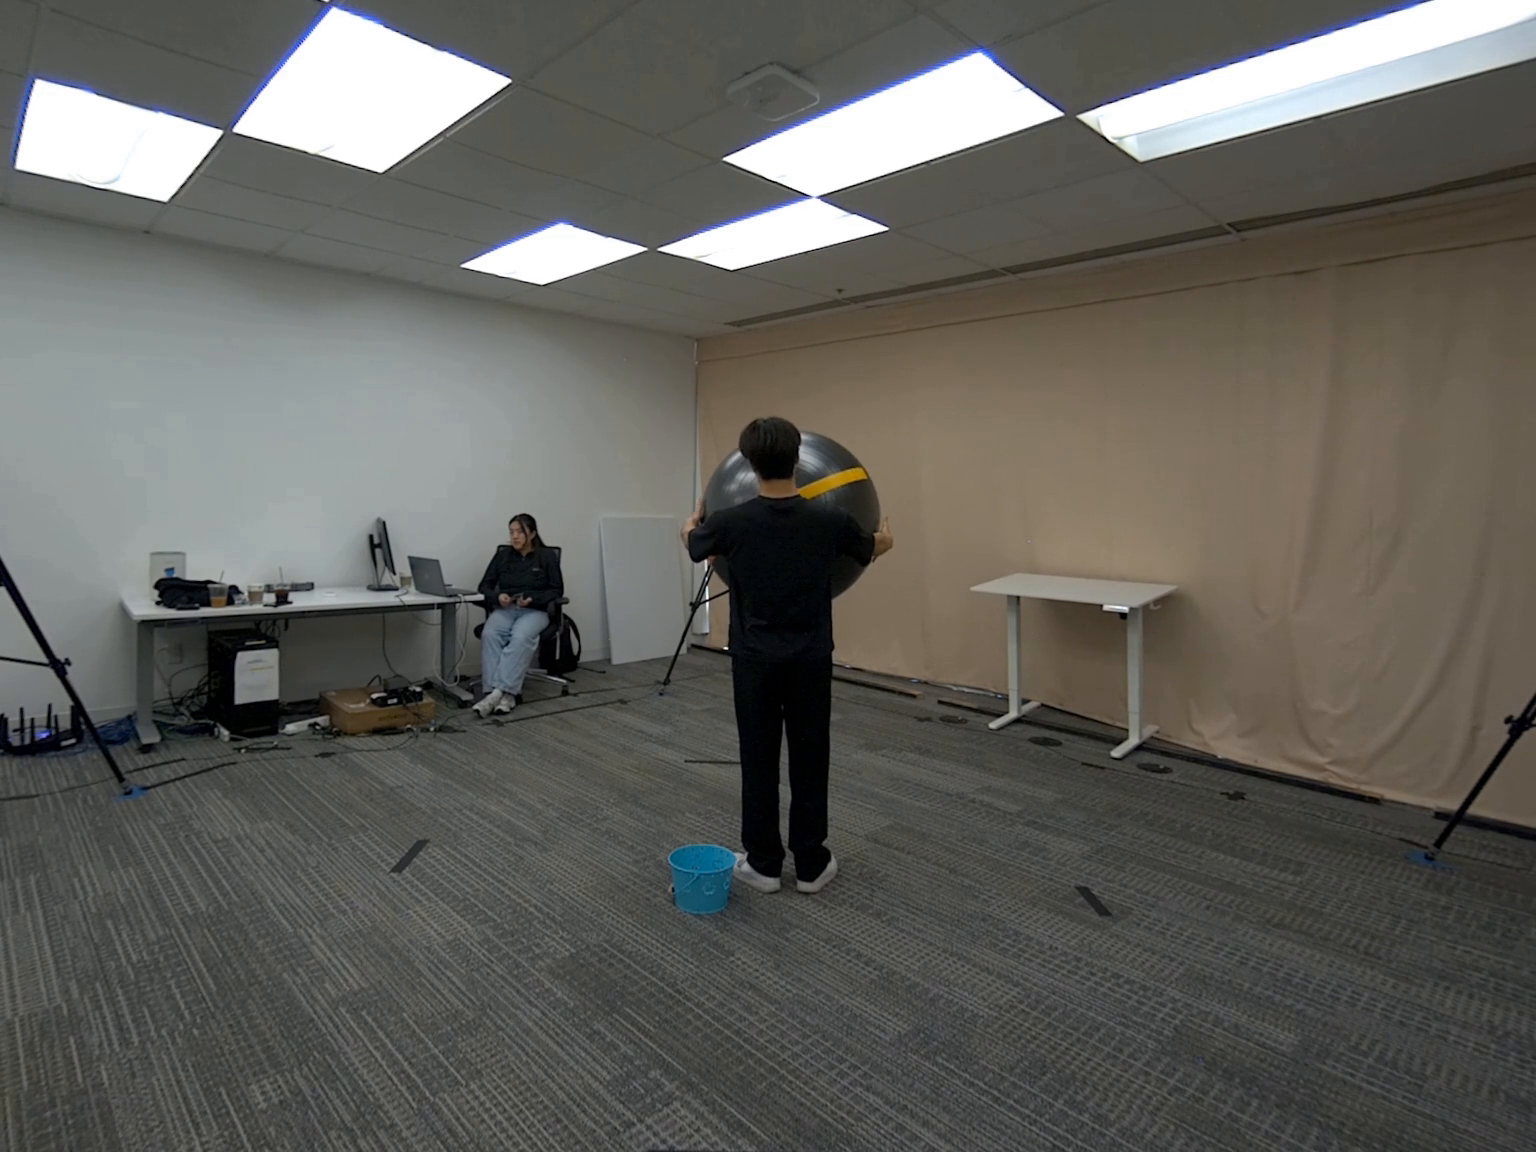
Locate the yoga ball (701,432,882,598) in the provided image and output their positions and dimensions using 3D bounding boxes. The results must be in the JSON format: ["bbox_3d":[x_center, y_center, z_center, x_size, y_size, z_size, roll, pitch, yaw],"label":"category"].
[{"bbox_3d":[0.087,-0.225,3.551,0.757,0.756,0.761,1,4,-1],"label":"yoga ball"}]
